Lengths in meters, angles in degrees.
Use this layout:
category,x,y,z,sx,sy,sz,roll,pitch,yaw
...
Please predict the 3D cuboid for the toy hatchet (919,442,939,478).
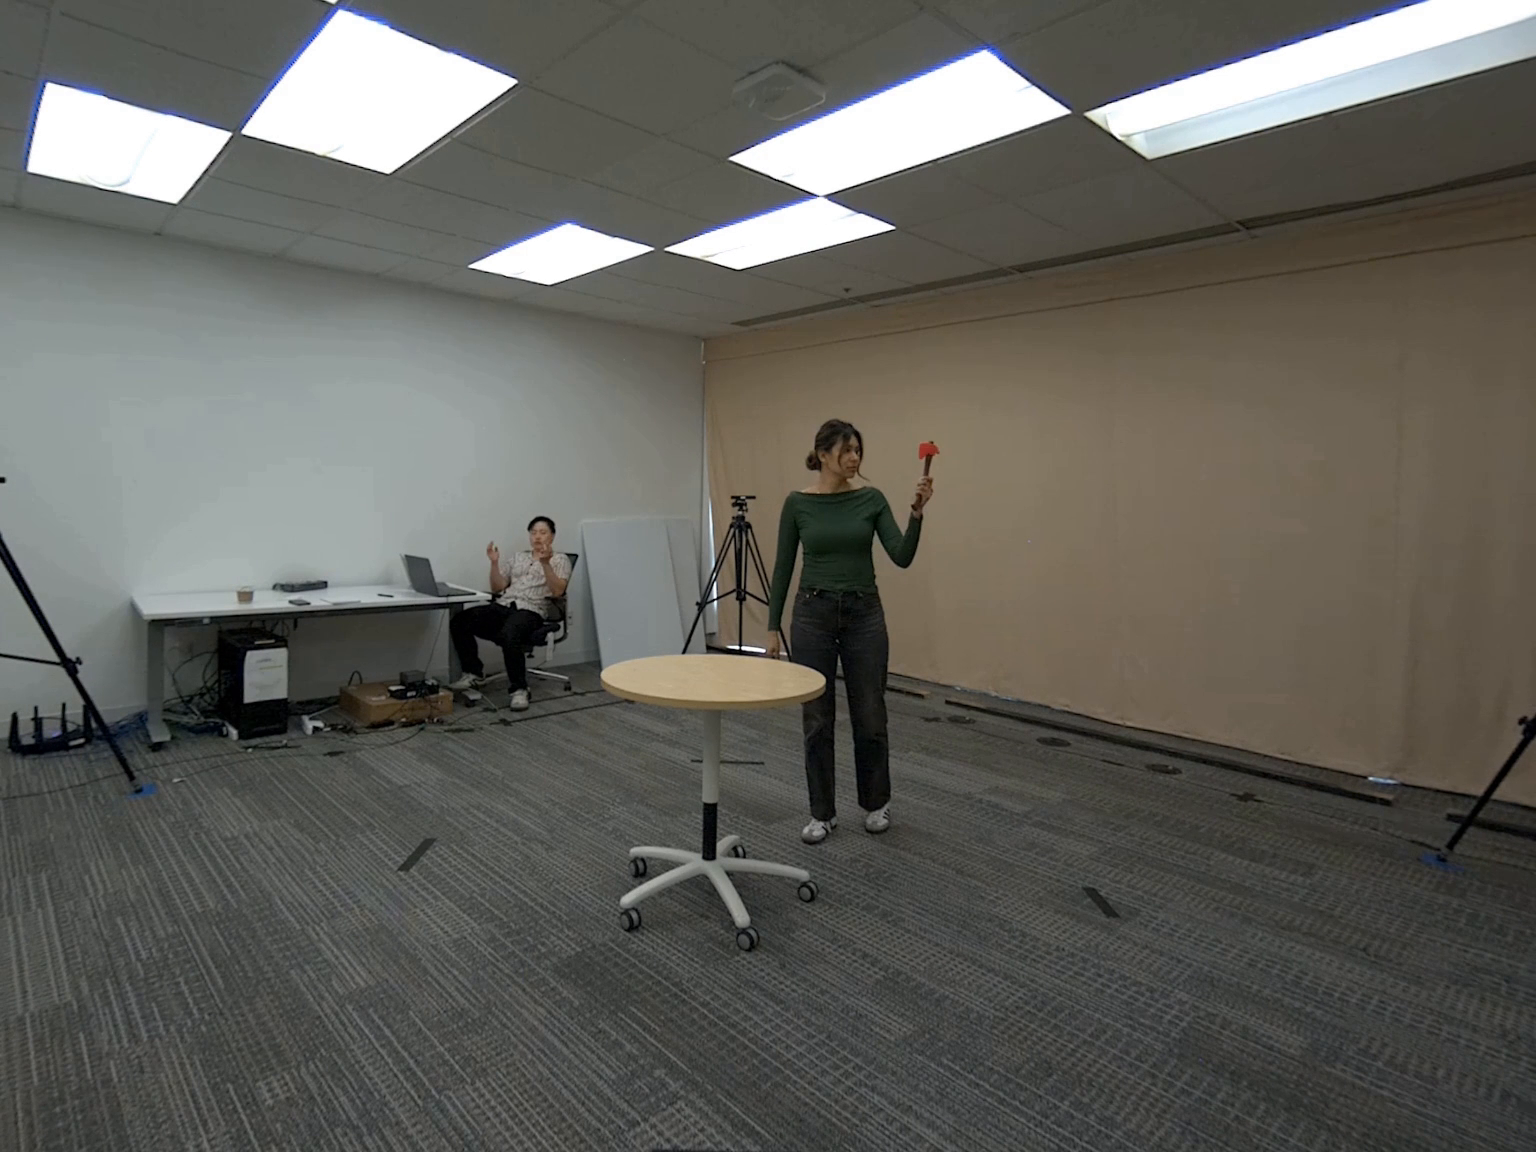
category,x,y,z,sx,sy,sz,roll,pitch,yaw
toy hatchet,0.570,-0.390,3.177,0.030,0.272,0.127,8,-19,38
